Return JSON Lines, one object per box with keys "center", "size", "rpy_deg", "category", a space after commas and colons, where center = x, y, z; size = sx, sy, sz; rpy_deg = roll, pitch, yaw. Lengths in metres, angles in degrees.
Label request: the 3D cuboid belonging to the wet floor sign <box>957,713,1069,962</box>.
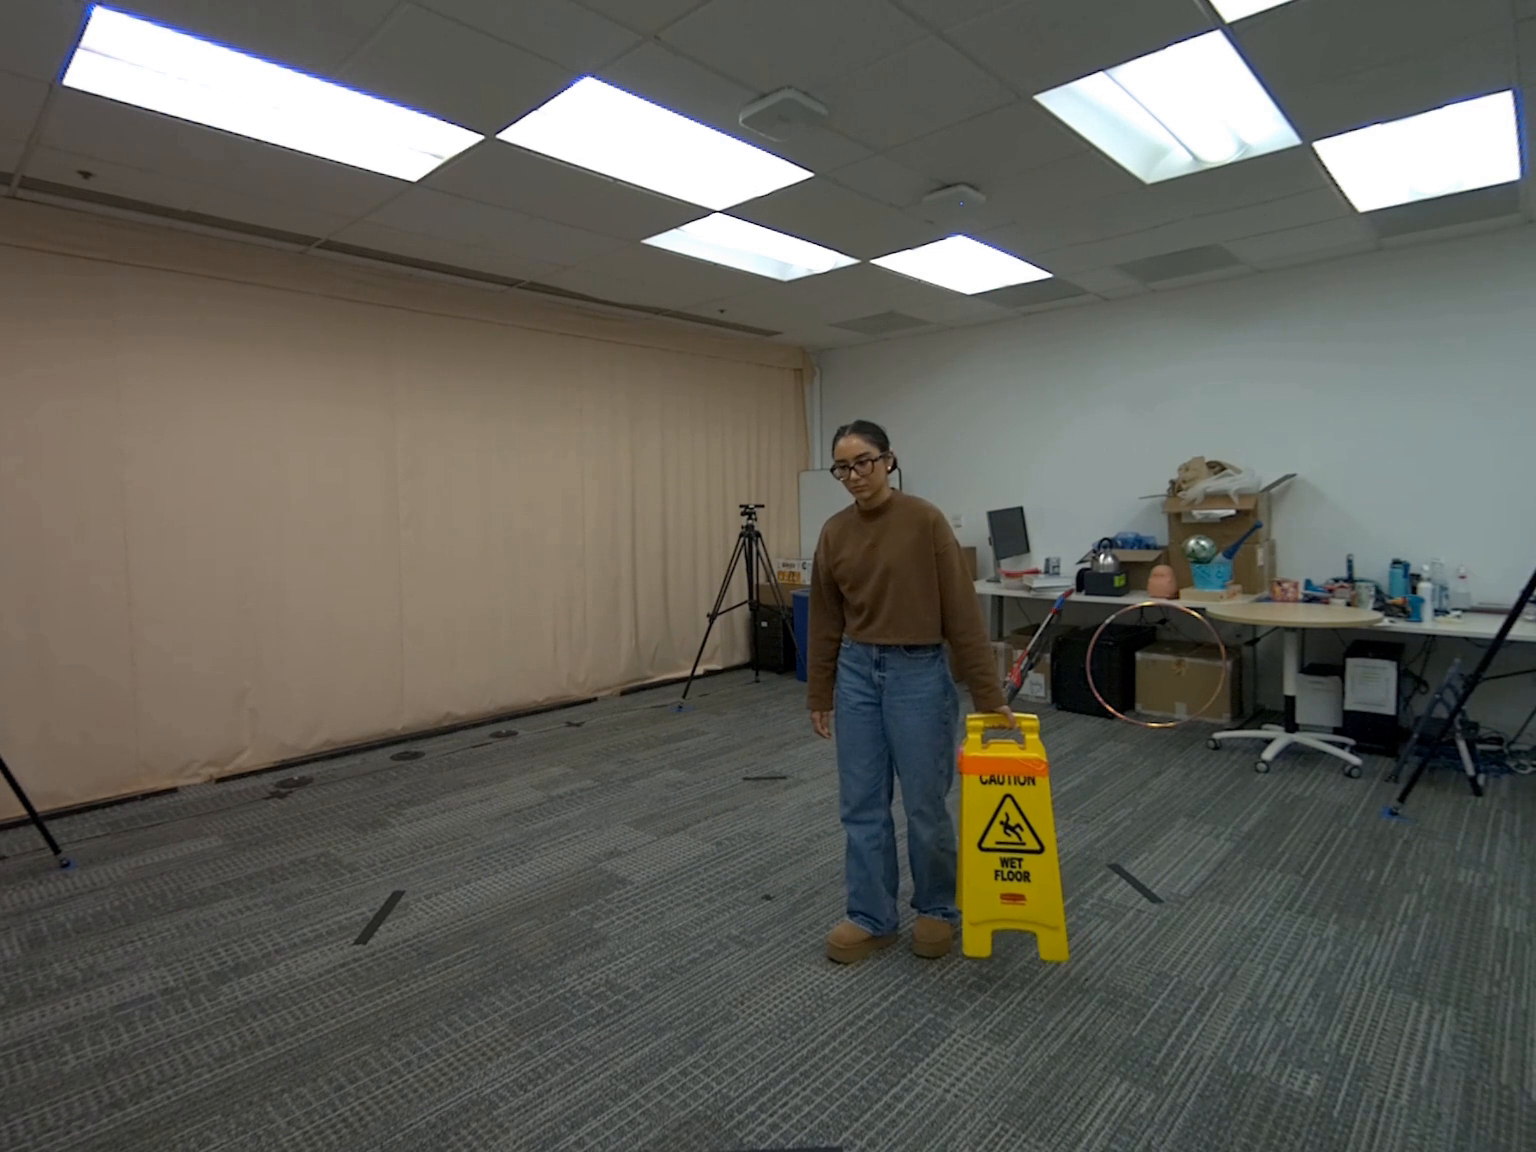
{"center": [0.703, 0.725, 2.420], "size": [0.286, 0.644, 0.287], "rpy_deg": [0, 4, 10], "category": "wet floor sign"}
